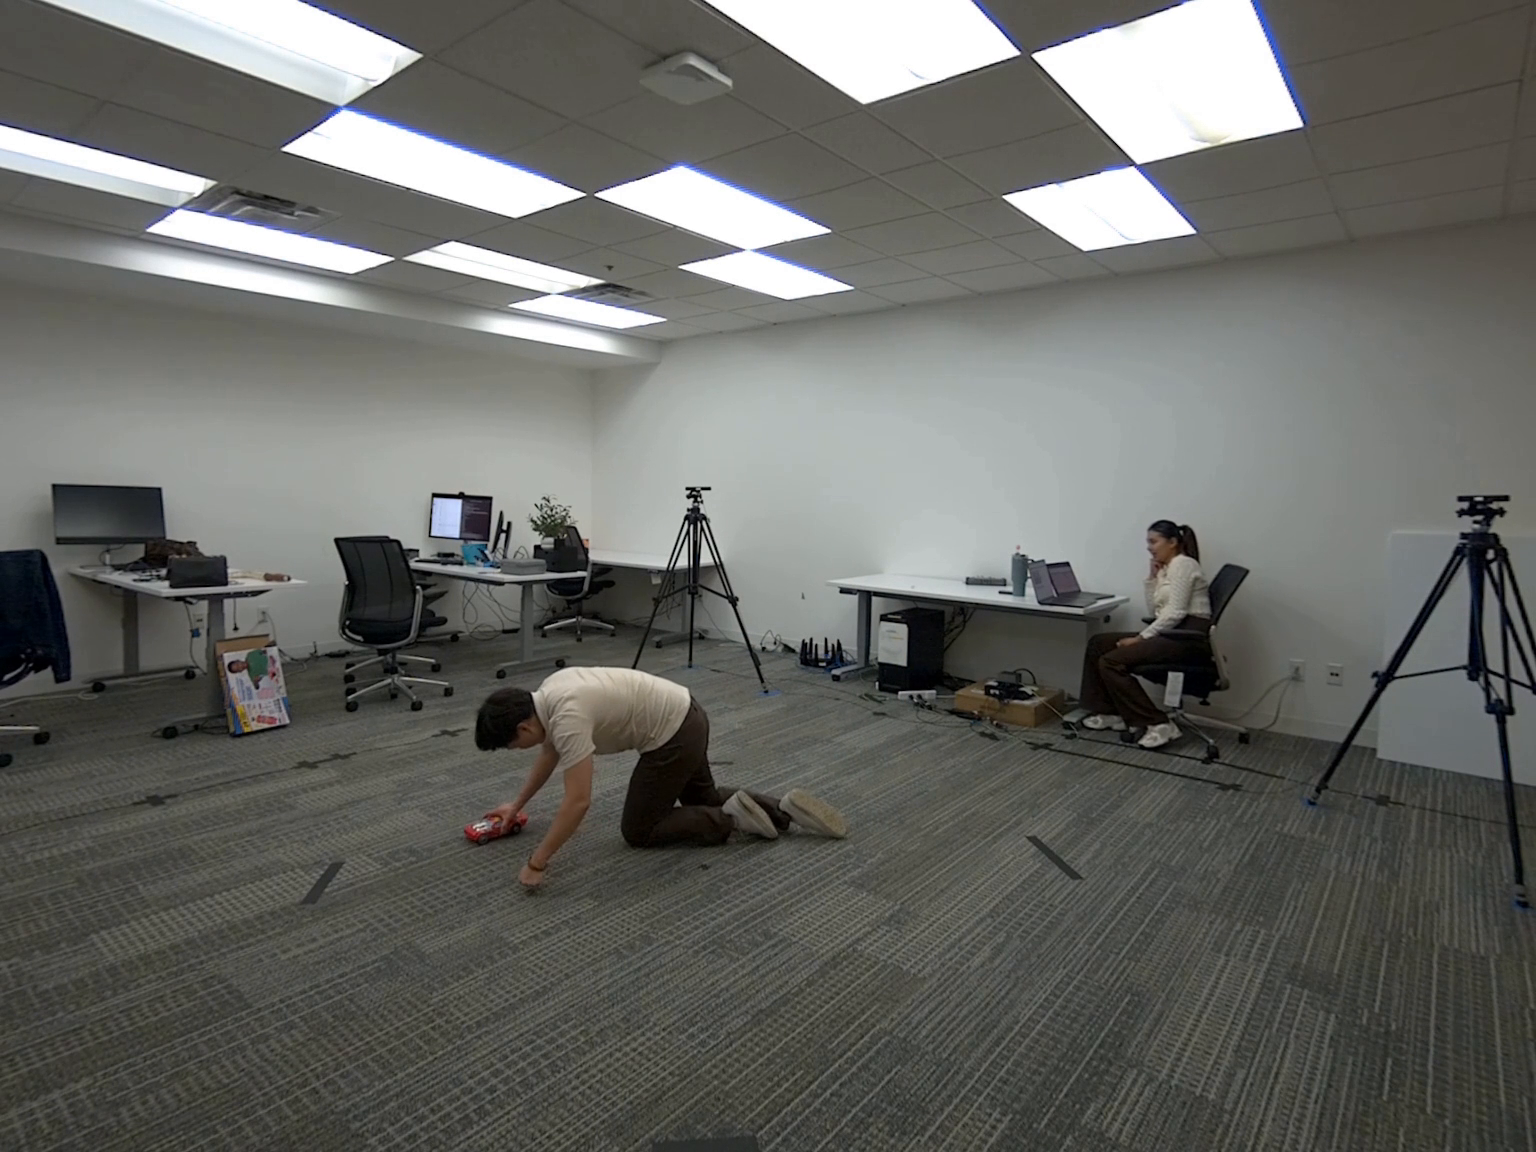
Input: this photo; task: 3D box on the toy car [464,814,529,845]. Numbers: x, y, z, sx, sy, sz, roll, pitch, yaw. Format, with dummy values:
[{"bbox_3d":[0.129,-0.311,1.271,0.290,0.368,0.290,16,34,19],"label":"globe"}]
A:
[{"bbox_3d":[-1.091,0.999,3.394,0.248,0.082,0.135,-16,14,-42],"label":"toy car"}]
